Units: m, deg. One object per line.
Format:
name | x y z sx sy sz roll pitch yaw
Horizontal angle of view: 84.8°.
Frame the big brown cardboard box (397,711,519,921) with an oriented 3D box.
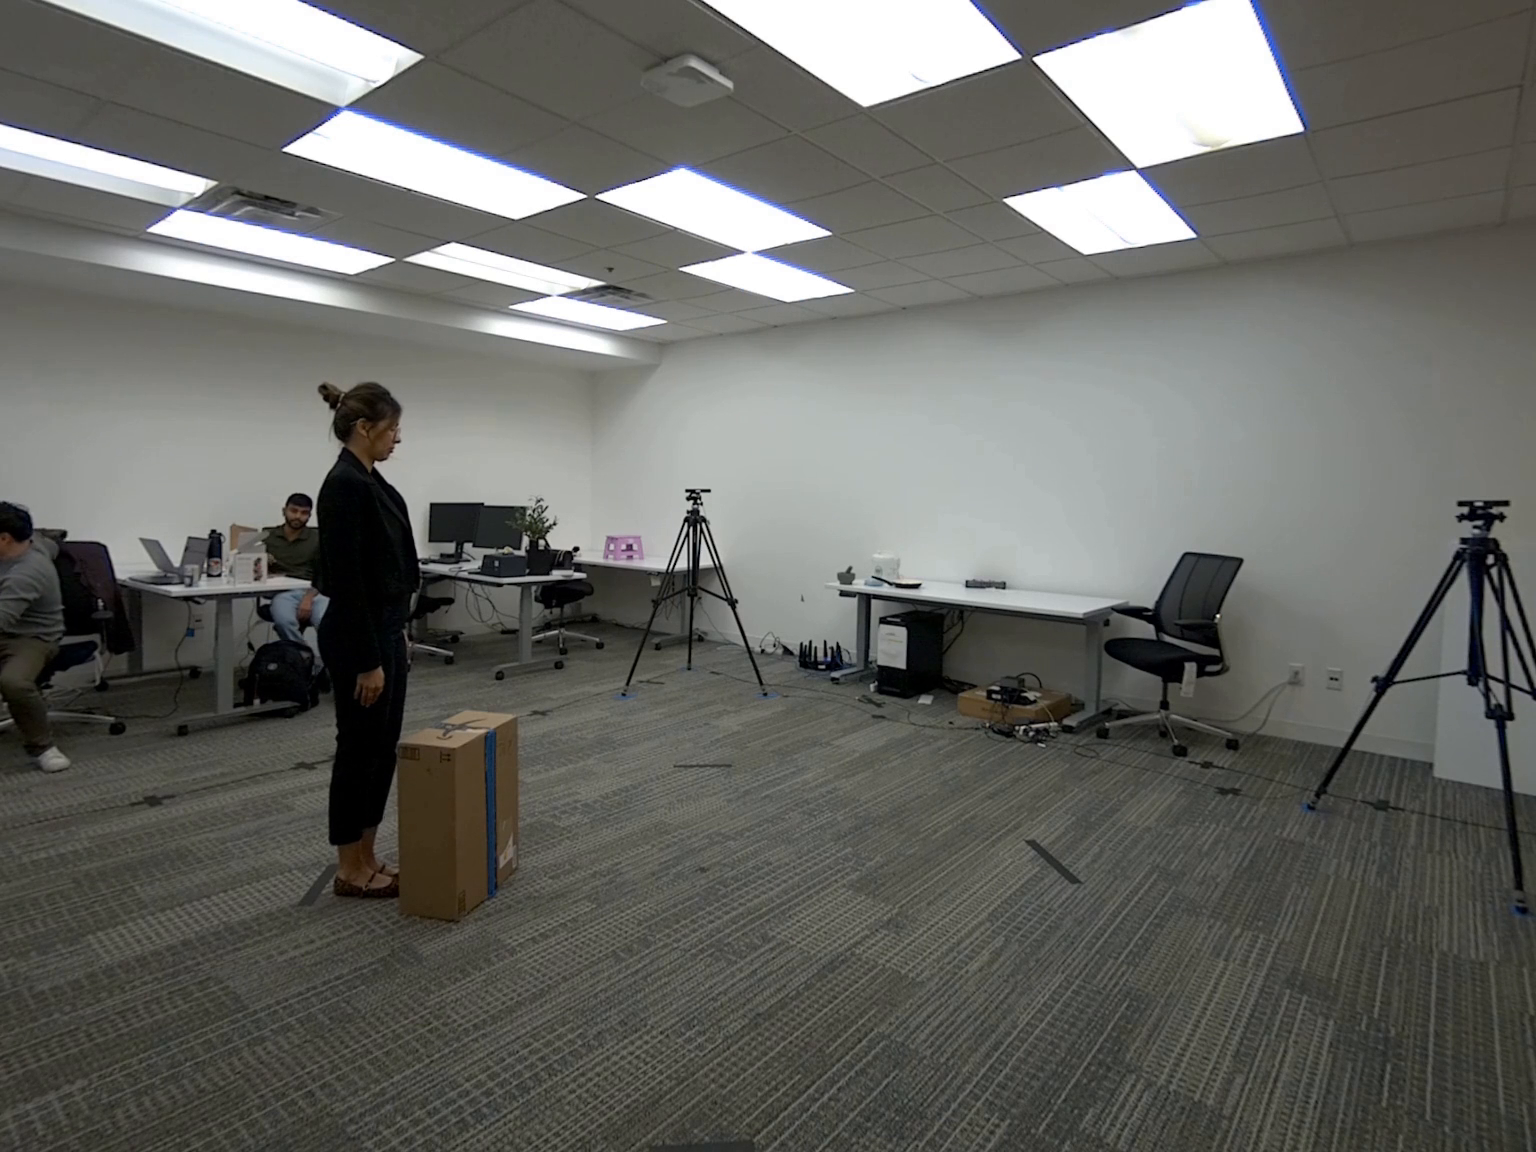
big brown cardboard box | -1.058 0.802 2.904 0.236 0.587 0.413 1 4 11
